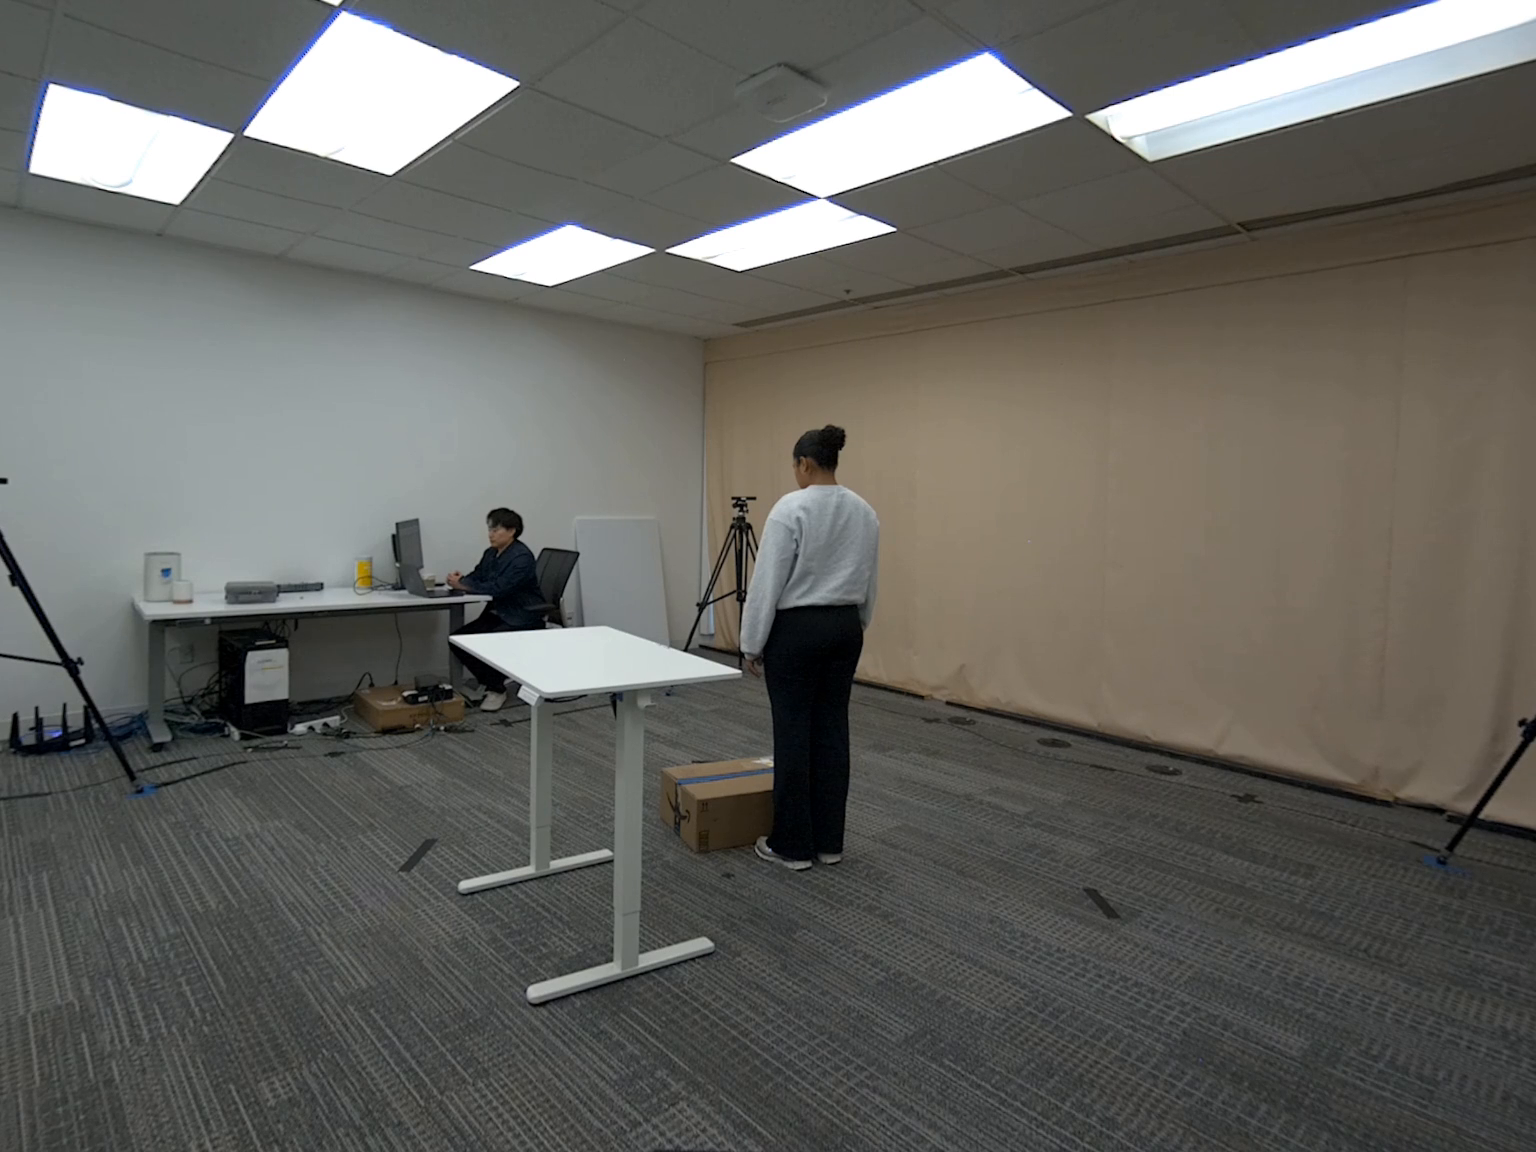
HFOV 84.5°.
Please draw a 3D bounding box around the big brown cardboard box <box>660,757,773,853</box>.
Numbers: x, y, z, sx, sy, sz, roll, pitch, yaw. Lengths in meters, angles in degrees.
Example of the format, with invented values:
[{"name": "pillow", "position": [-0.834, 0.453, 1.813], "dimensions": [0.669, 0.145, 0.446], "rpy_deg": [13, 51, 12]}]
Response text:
[{"name": "big brown cardboard box", "position": [-0.129, 0.952, 3.589], "dimensions": [0.578, 0.232, 0.426], "rpy_deg": [-2, 5, -27]}]
